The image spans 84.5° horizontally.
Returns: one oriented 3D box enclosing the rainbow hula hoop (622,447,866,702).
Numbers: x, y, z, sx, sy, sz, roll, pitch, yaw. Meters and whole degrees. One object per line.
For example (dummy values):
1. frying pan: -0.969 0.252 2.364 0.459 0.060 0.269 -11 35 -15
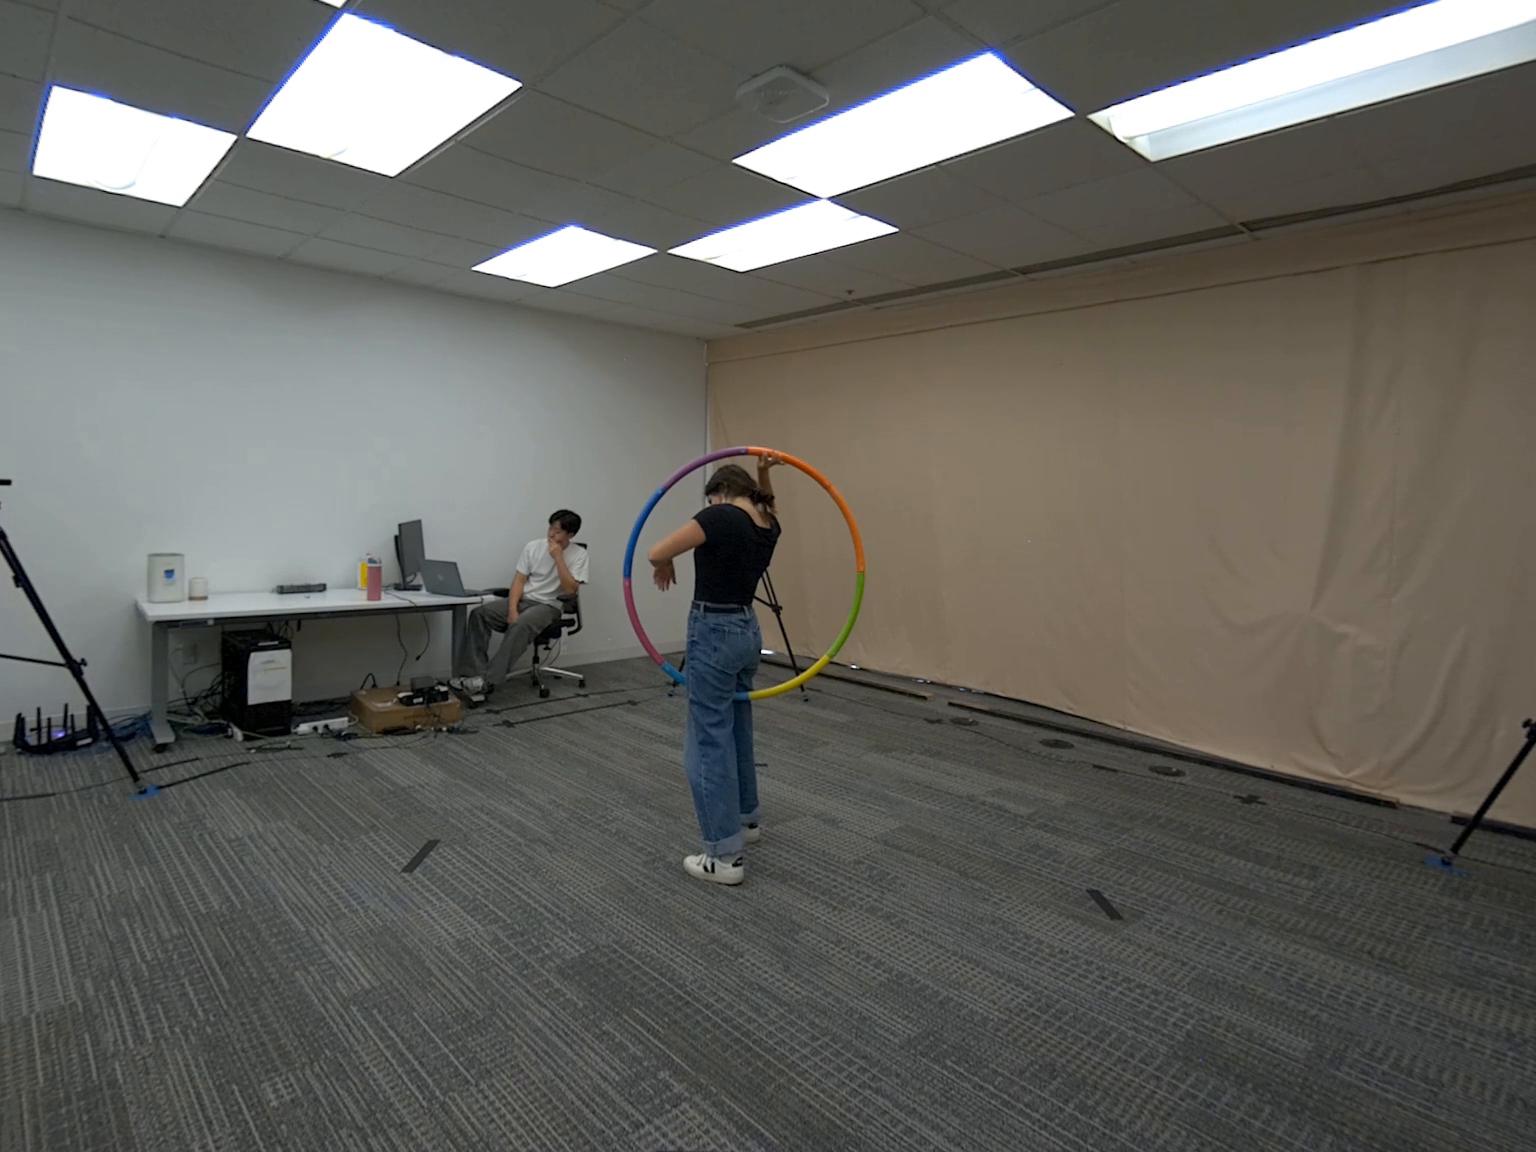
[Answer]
1. rainbow hula hoop: -0.089 -0.013 3.309 0.968 0.977 0.036 0 2 -13
